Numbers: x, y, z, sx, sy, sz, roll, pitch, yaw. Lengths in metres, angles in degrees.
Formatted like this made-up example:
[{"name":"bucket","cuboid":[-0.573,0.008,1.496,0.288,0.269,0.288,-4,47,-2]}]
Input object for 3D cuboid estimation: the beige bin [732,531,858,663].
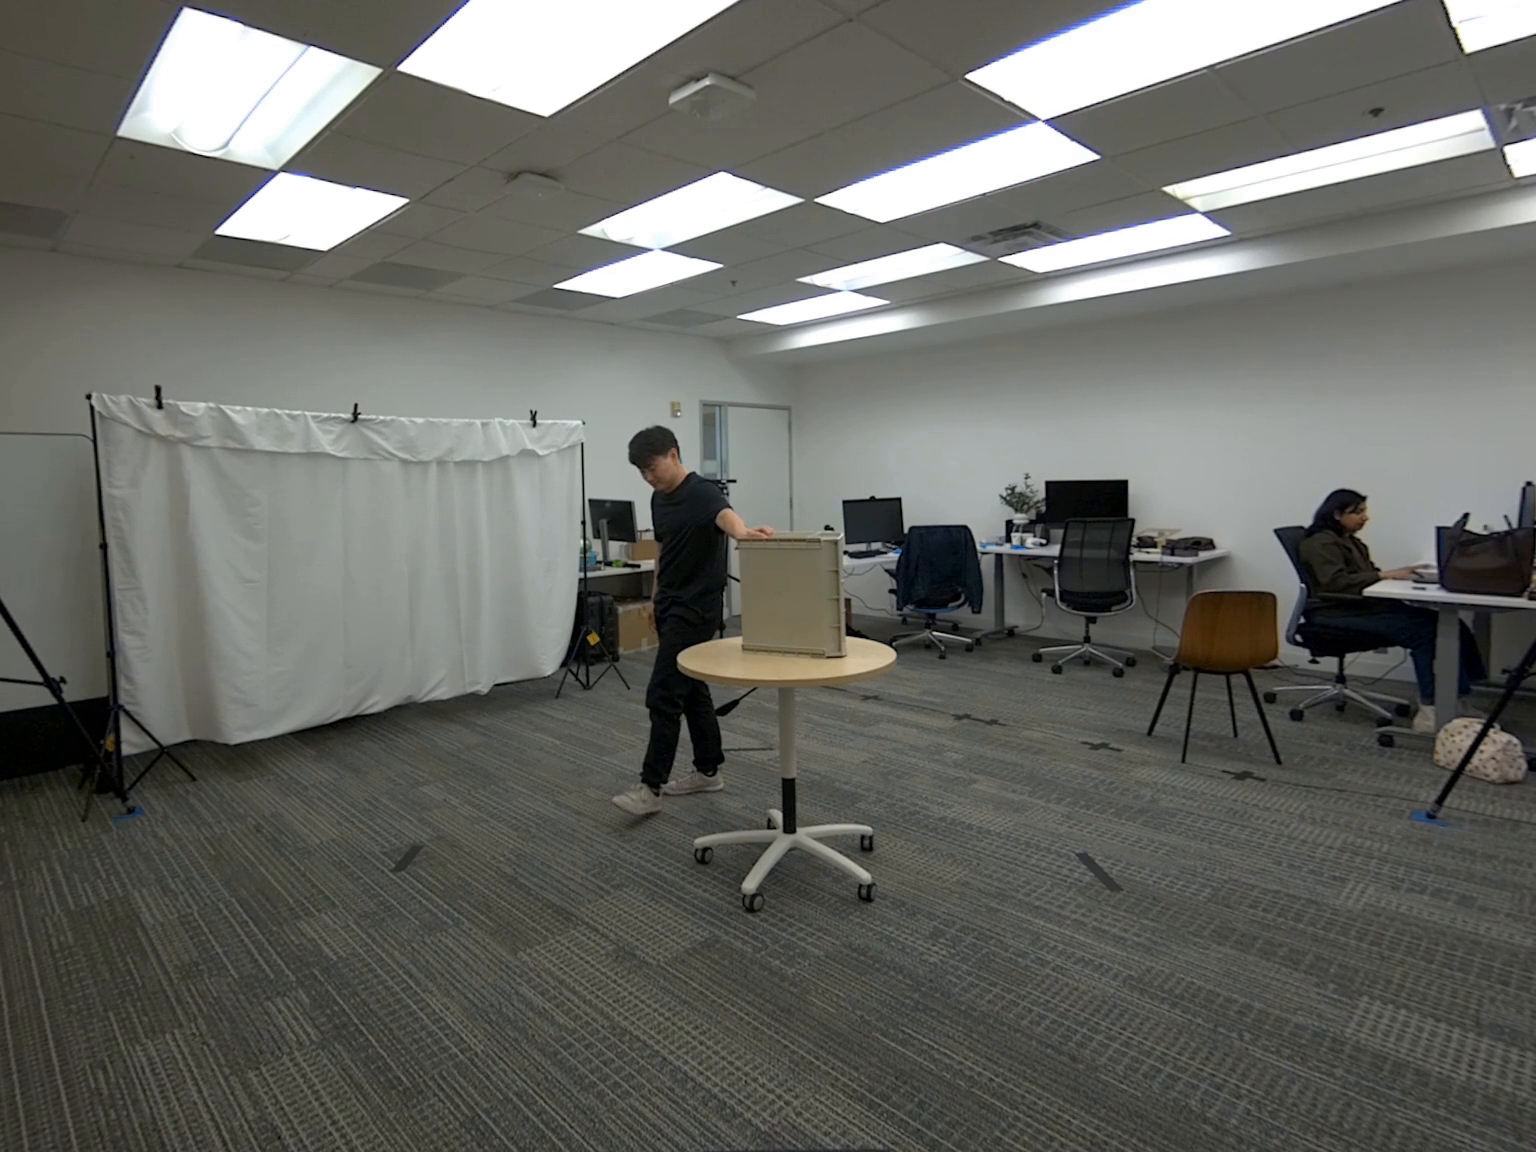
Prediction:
[{"name":"beige bin","cuboid":[0.095,0.063,3.014,0.386,0.420,0.186,0,7,25]}]
